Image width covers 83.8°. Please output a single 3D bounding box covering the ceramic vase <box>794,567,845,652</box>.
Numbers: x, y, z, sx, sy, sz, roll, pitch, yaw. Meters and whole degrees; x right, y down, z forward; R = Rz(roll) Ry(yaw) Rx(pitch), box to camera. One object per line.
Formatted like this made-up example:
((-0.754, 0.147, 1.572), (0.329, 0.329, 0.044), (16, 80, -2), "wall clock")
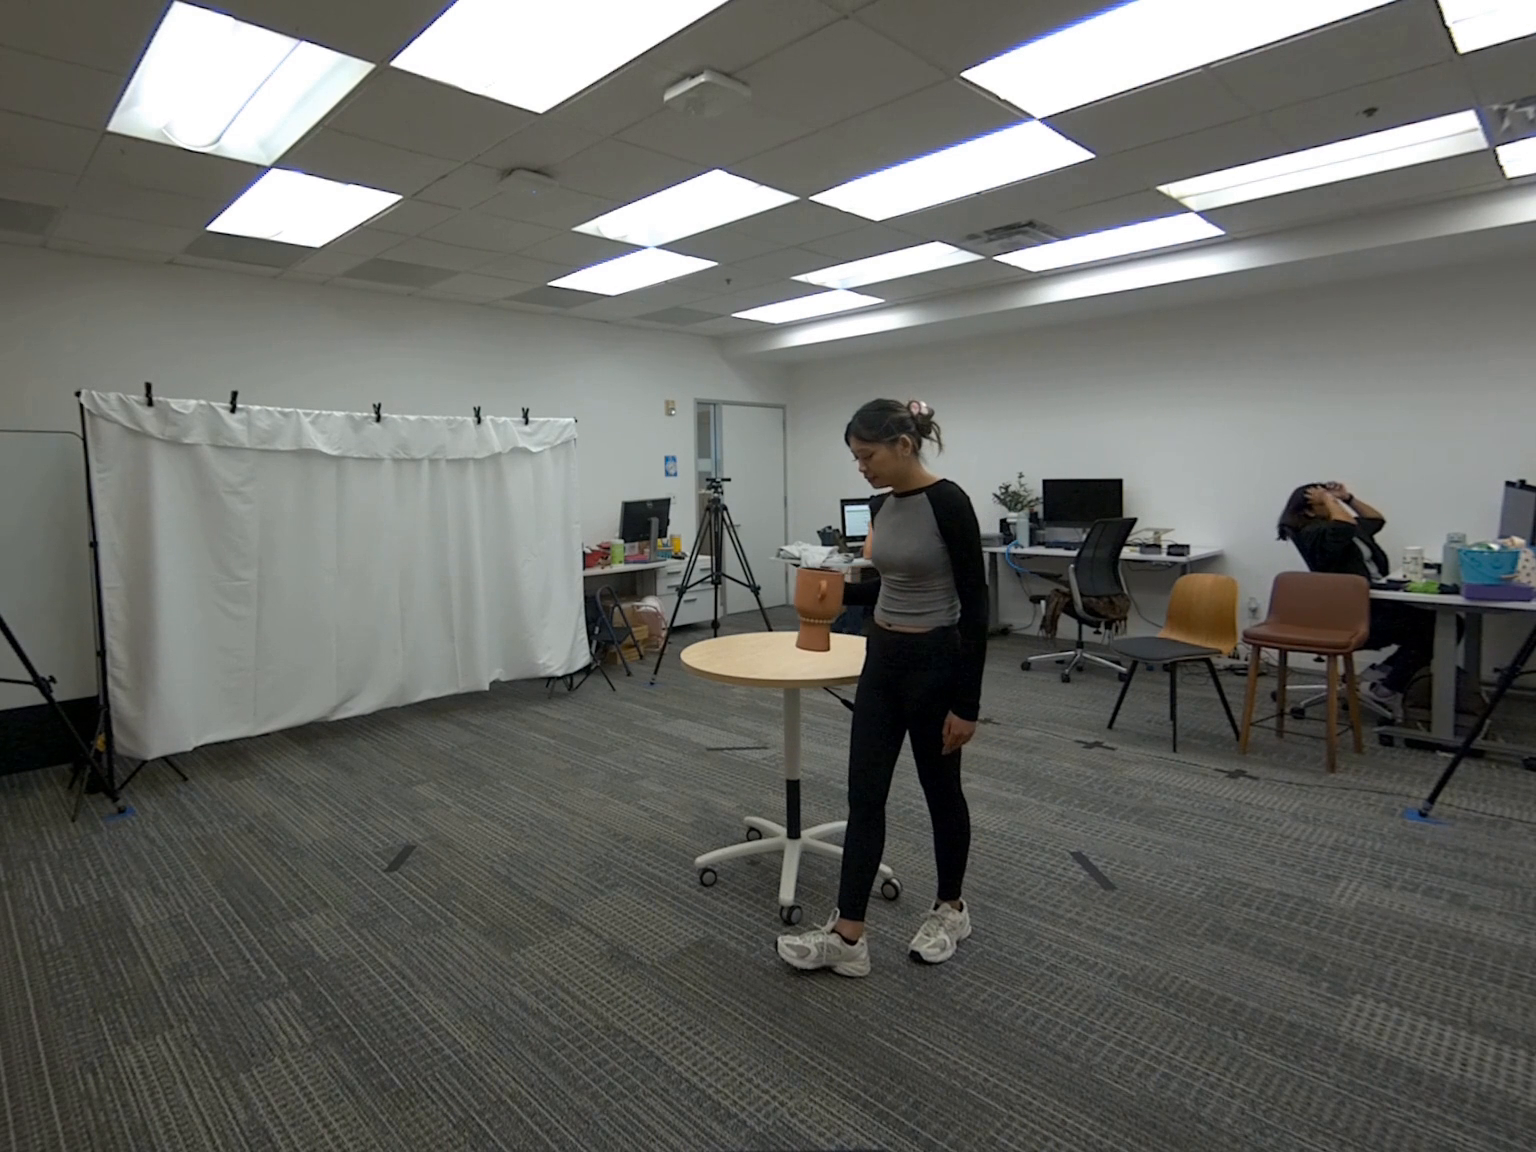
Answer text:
((0.145, 0.092, 2.354), (0.139, 0.219, 0.154), (7, 6, 40), "ceramic vase")
